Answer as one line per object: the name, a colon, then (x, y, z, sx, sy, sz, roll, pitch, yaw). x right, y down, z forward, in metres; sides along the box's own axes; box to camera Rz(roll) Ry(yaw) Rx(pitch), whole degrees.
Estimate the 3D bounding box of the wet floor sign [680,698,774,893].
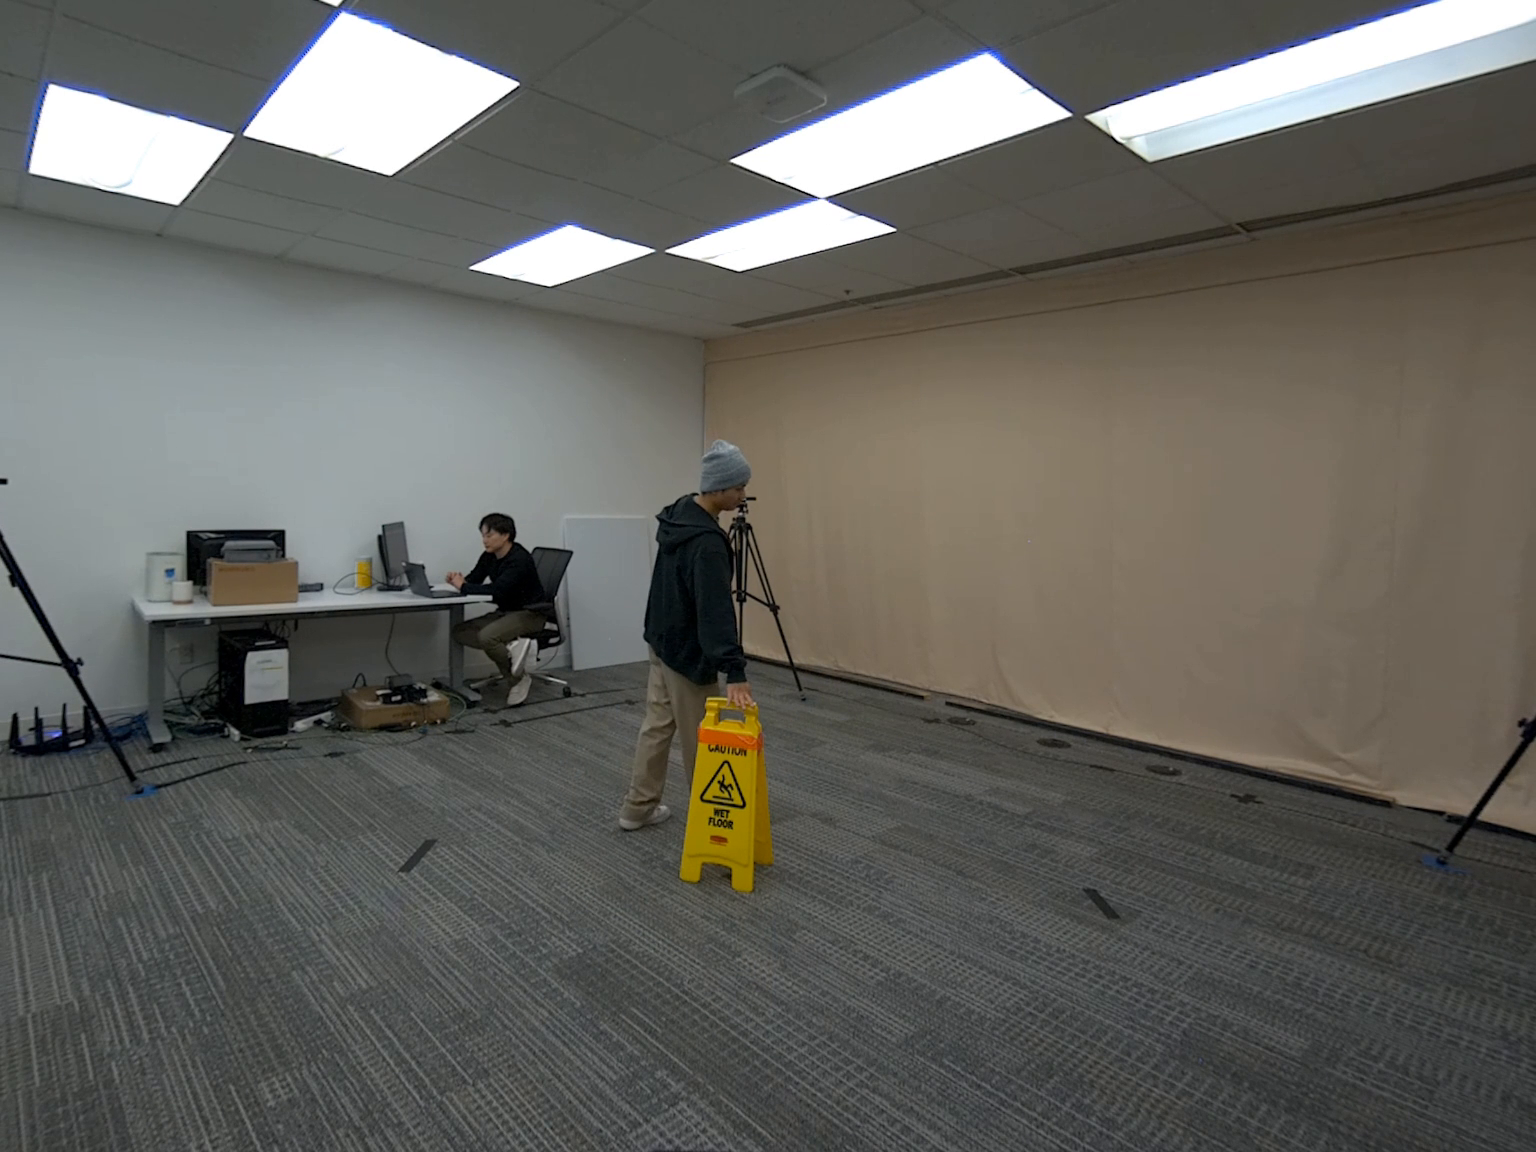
wet floor sign: (-0.147, 0.780, 3.128, 0.286, 0.645, 0.286, 3, 2, 17)
